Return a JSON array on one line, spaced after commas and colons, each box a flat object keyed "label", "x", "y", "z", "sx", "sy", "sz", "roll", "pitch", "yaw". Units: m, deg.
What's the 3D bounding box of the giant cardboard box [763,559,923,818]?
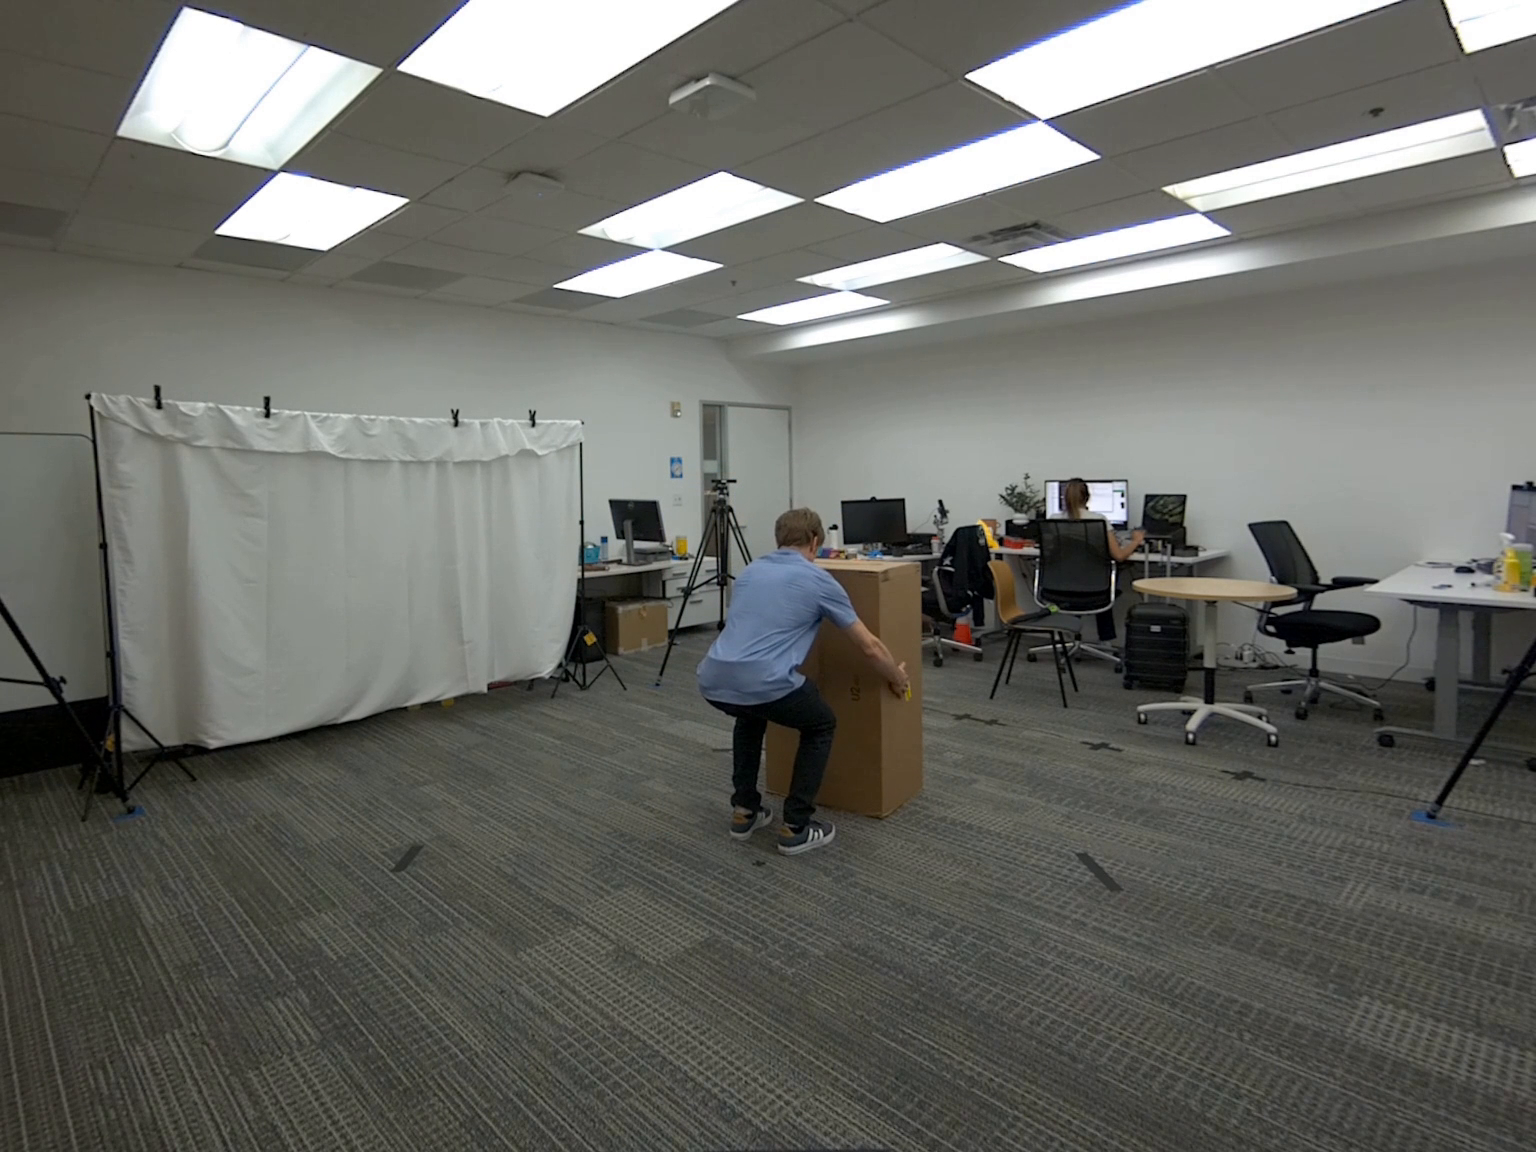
[{"label": "giant cardboard box", "x": 0.336, "y": 0.454, "z": 3.805, "sx": 0.594, "sy": 1.023, "sz": 0.415, "roll": 2, "pitch": 4, "yaw": 35}]
